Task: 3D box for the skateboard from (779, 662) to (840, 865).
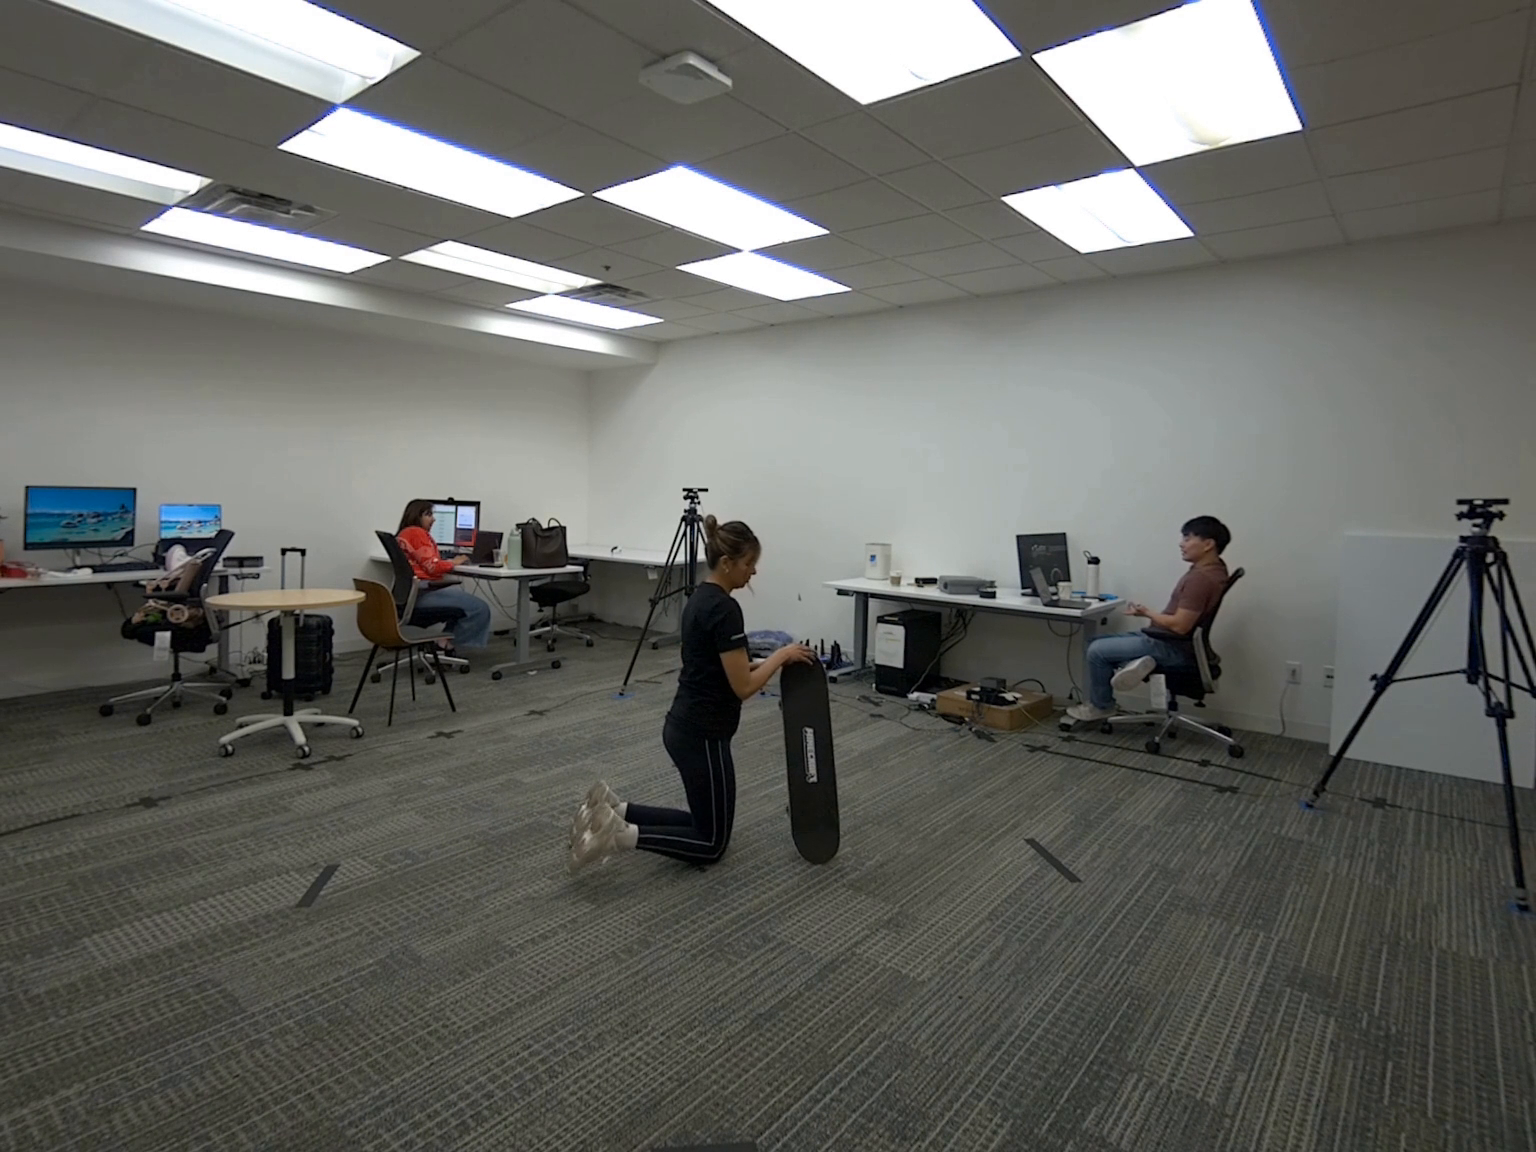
[{"bbox_3d":[0.149,0.697,3.302,0.192,0.796,0.110,-2,-13,-8],"label":"skateboard"}]
